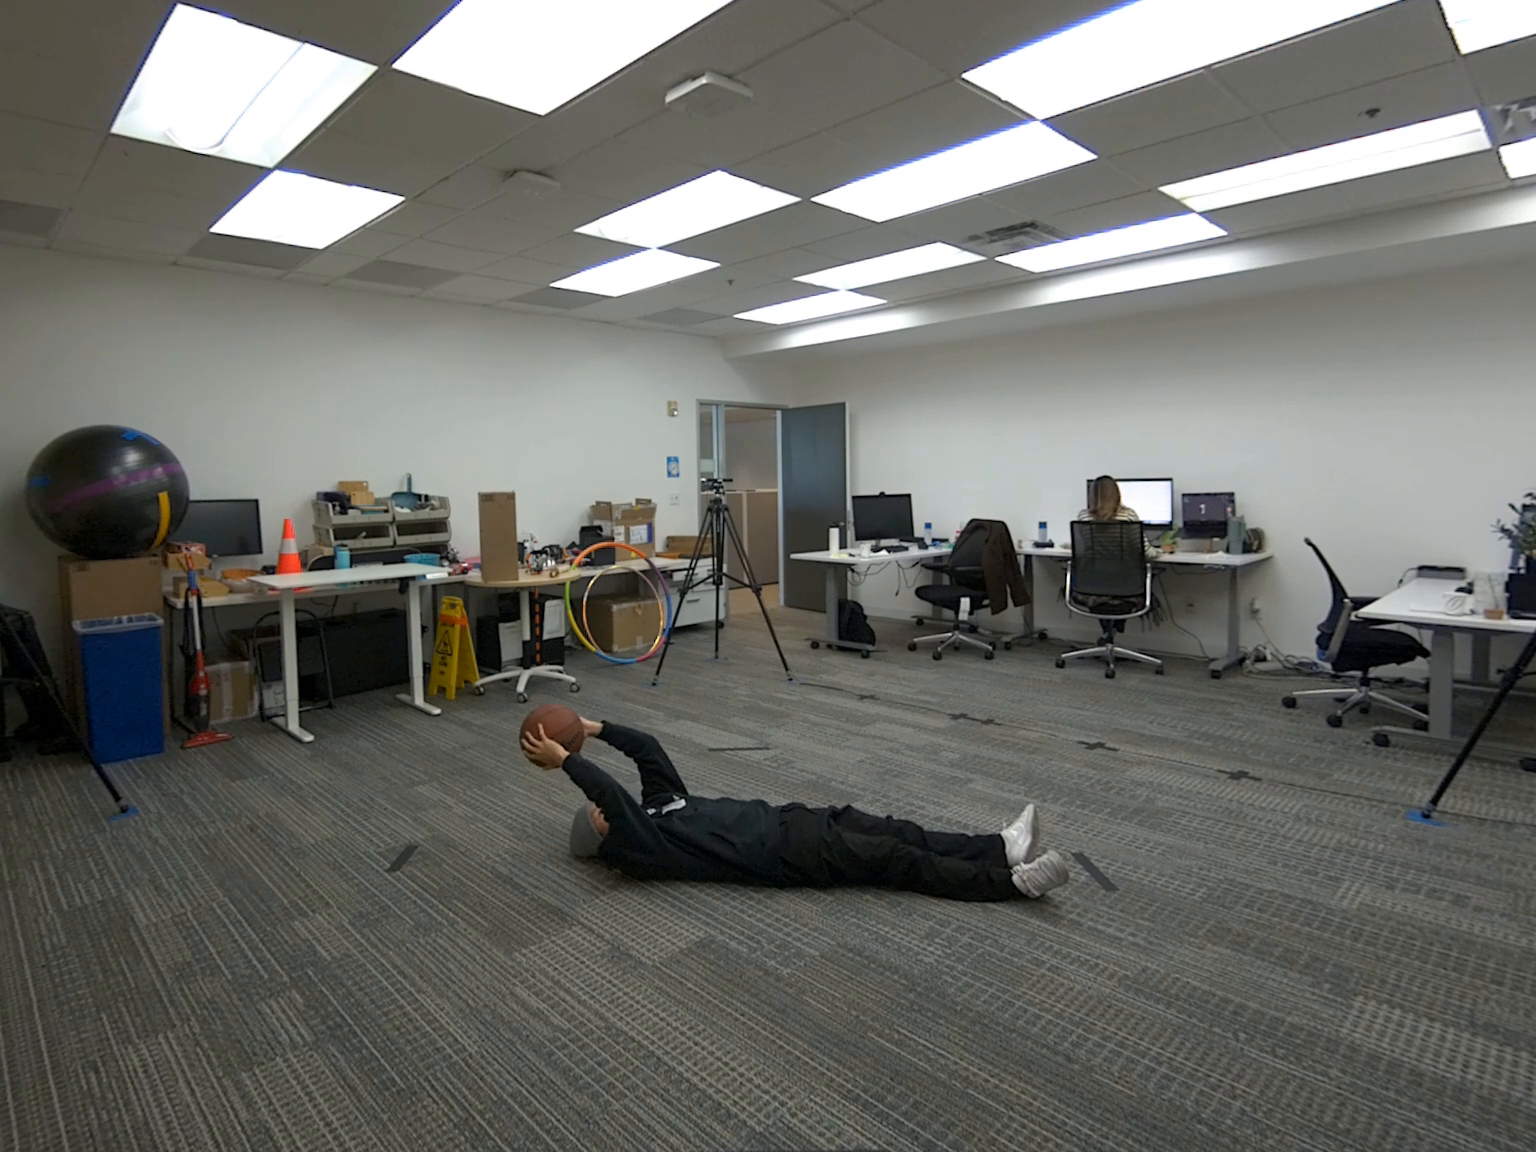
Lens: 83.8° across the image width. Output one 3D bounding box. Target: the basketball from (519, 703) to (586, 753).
[{"bbox_3d":[-0.803,0.594,3.198,0.236,0.235,0.237,-1,5,-2],"label":"basketball"}]
